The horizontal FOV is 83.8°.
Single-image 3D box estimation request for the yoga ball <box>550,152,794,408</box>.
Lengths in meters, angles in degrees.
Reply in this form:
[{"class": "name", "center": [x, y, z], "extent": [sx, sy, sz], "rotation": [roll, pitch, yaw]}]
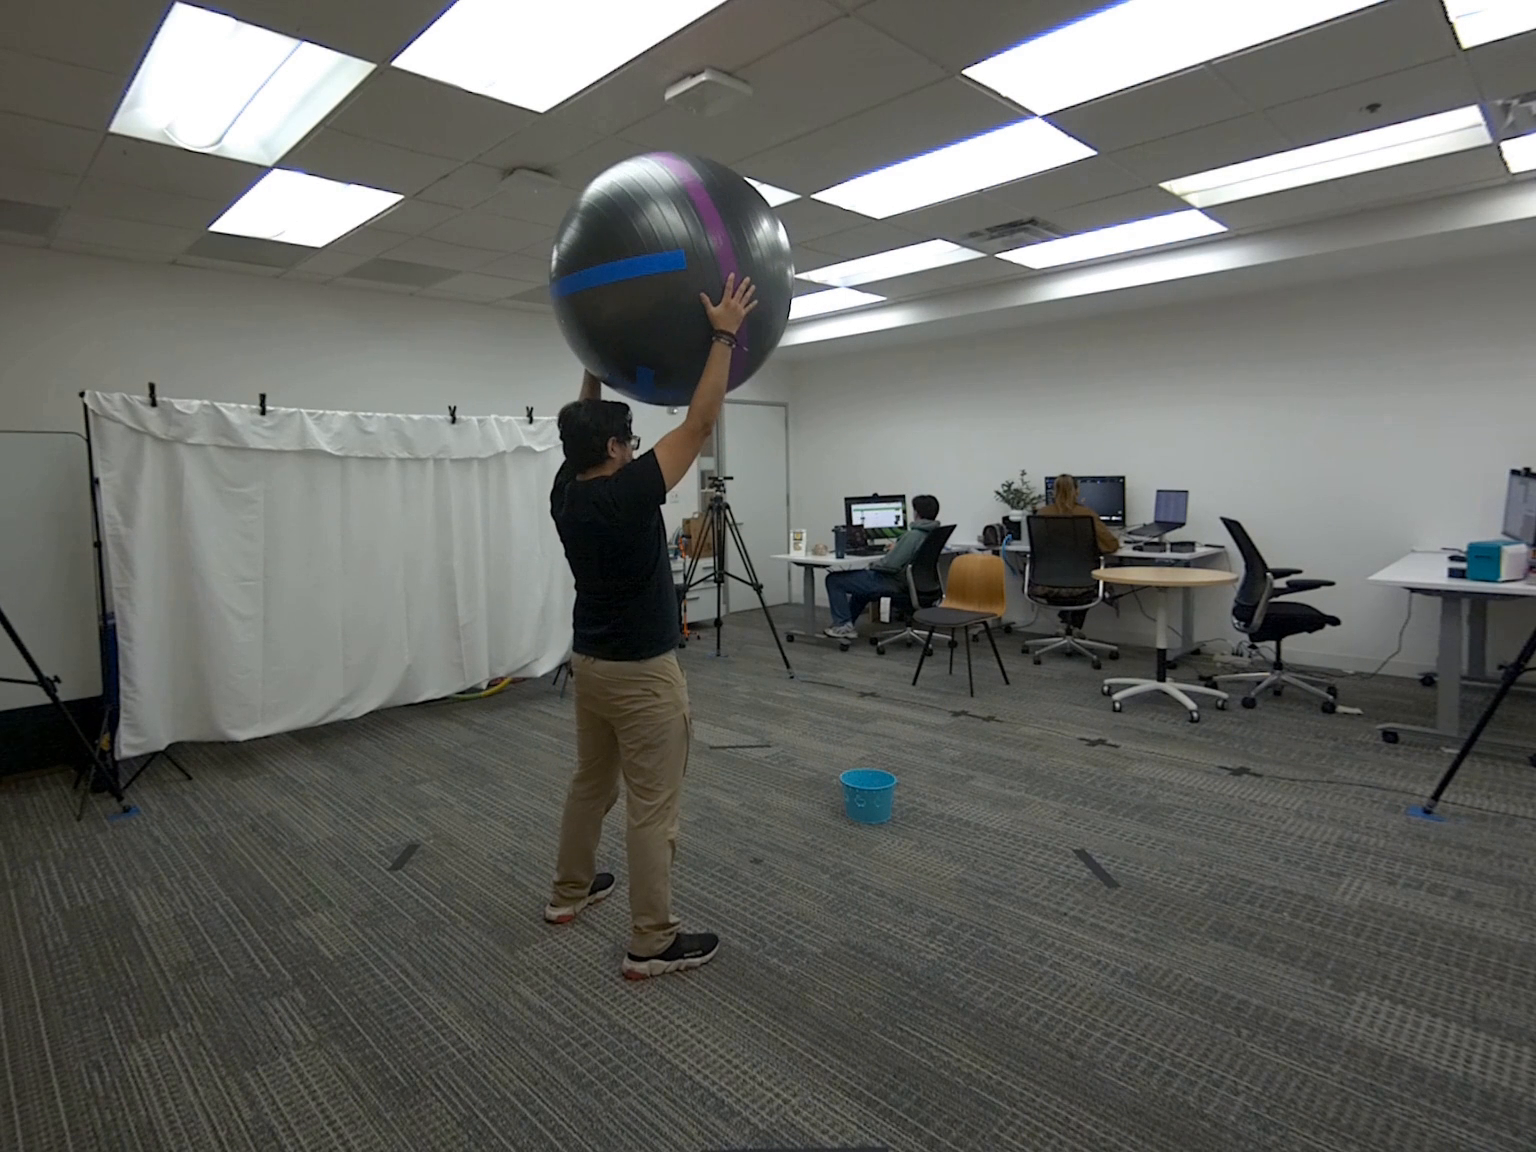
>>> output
[{"class": "yoga ball", "center": [-0.294, -0.904, 2.669], "extent": [0.757, 0.755, 0.762], "rotation": [-1, 5, -2]}]
